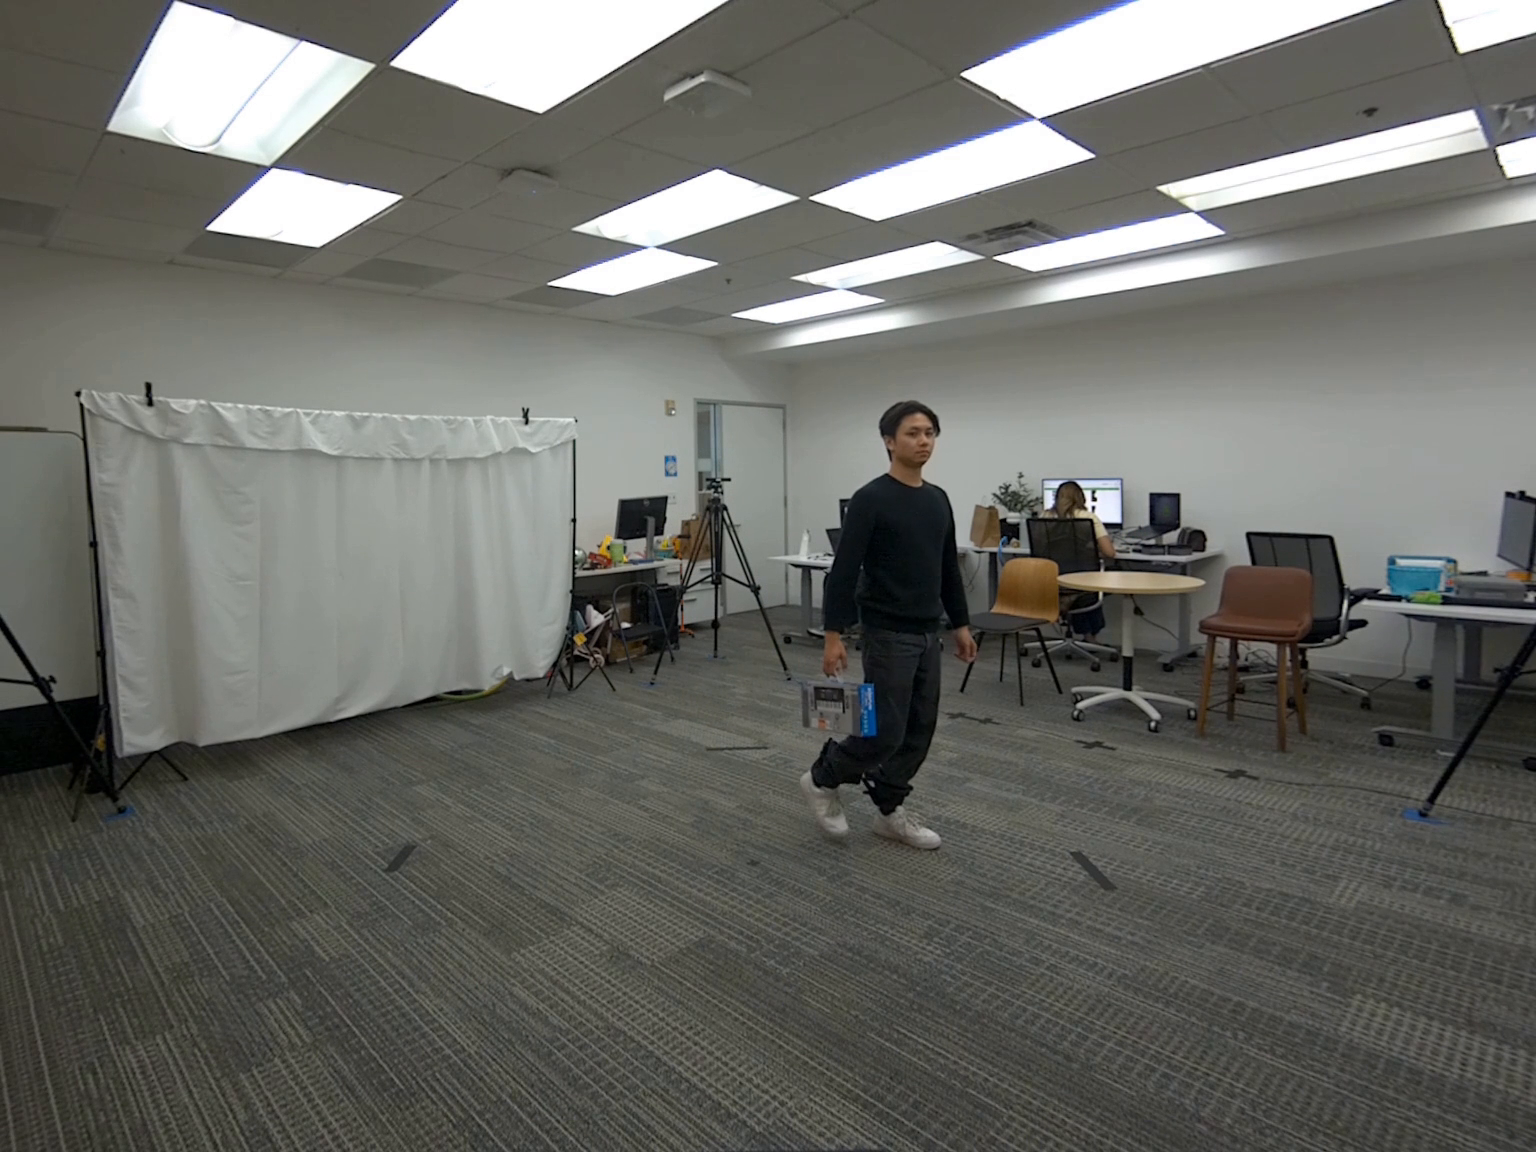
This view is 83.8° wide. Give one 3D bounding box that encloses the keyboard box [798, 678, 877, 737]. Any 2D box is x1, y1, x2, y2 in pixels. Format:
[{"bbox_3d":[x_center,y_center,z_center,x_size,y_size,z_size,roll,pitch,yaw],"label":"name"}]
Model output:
[{"bbox_3d":[0.245,0.466,3.058,0.058,0.177,0.443,1,-6,-23],"label":"keyboard box"}]
